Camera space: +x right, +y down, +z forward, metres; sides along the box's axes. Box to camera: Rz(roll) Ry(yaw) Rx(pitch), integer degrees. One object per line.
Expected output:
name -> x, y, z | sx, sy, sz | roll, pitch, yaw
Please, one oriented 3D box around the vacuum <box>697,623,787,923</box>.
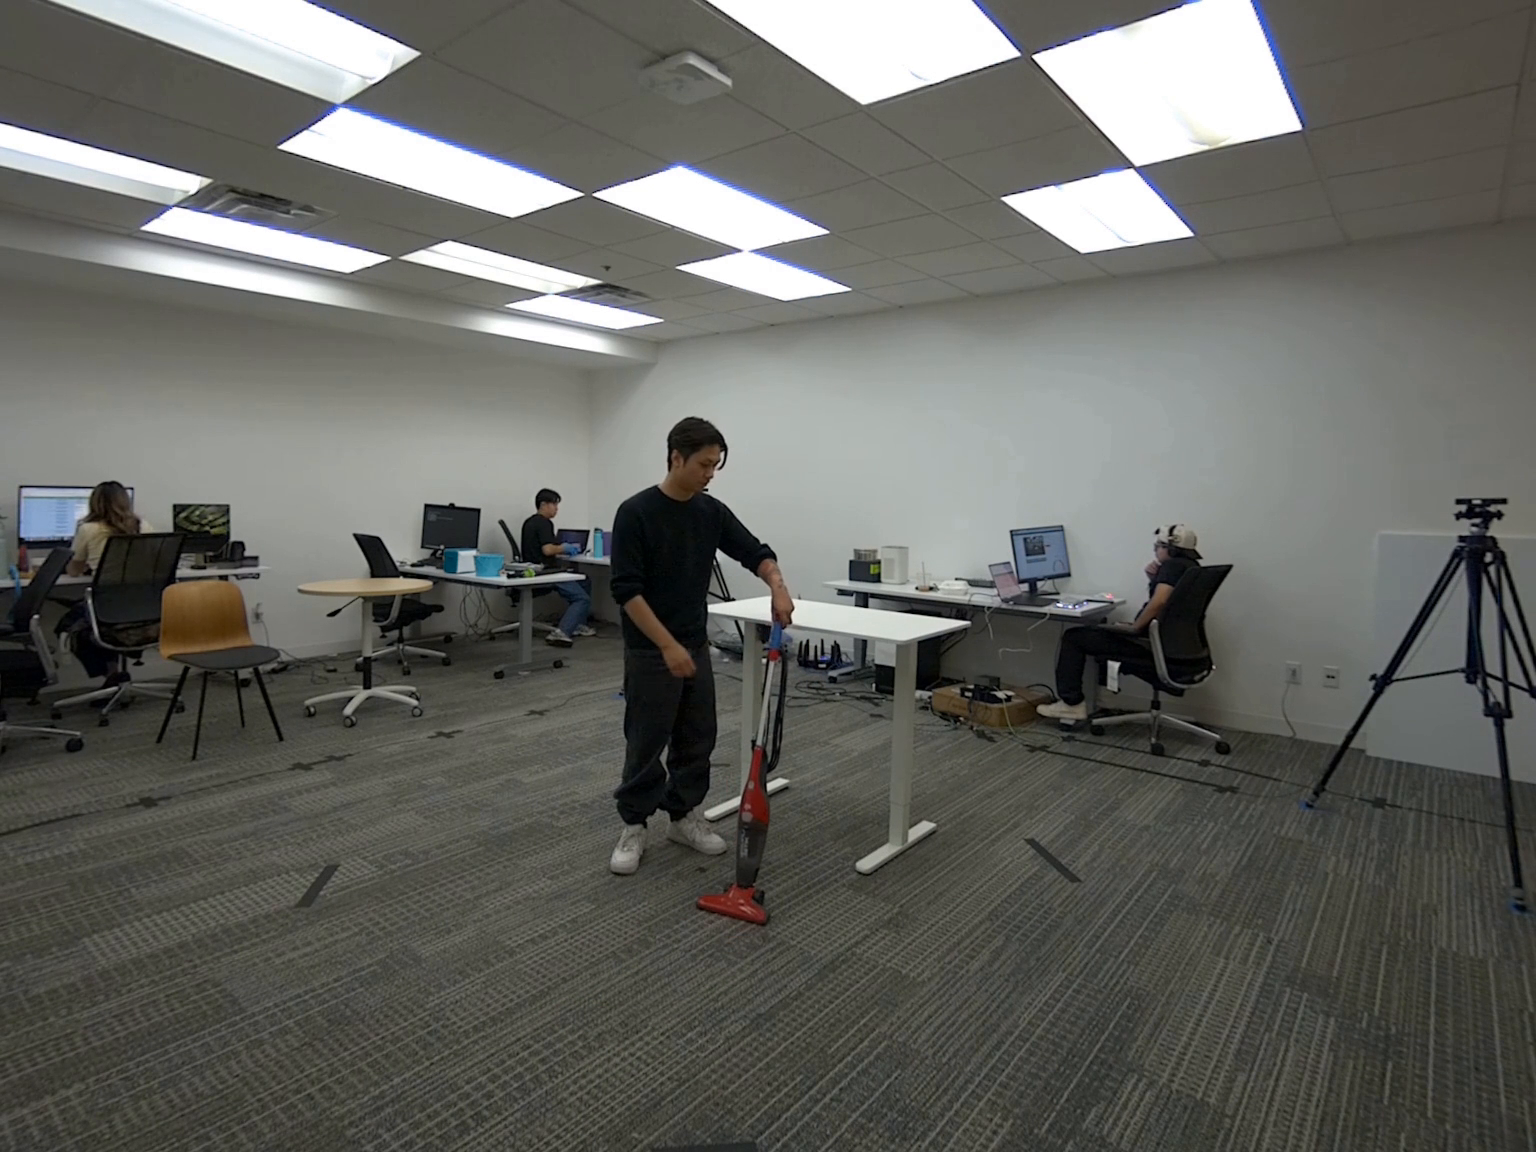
vacuum -> -0.023, 0.597, 2.970 | 0.258, 1.062, 0.139 | 3, -18, 21
